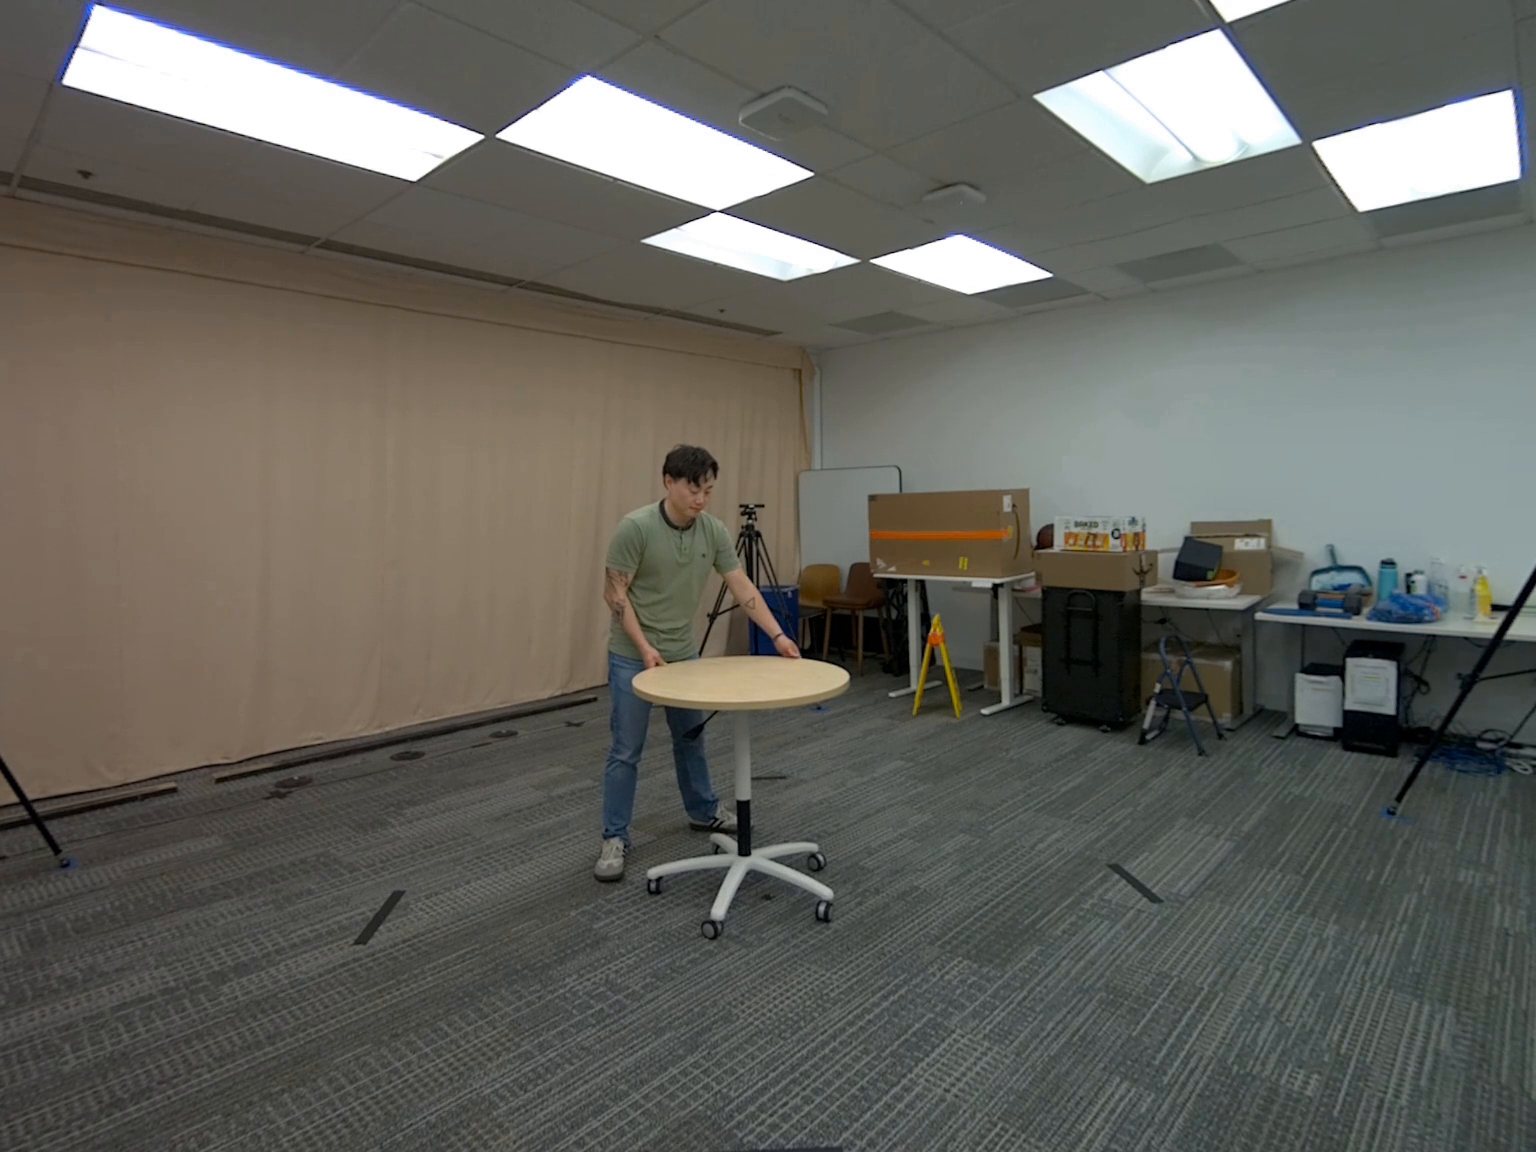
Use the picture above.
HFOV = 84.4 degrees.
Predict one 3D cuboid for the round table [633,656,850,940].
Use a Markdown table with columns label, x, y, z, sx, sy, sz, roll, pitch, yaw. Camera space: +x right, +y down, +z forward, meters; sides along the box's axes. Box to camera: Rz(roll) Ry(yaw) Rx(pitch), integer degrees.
| label | x | y | z | sx | sy | sz | roll | pitch | yaw |
| --- | --- | --- | --- | --- | --- | --- | --- | --- | --- |
| round table | -0.085 | 0.749 | 3.002 | 0.763 | 0.792 | 0.766 | -1 | 4 | -2 |
